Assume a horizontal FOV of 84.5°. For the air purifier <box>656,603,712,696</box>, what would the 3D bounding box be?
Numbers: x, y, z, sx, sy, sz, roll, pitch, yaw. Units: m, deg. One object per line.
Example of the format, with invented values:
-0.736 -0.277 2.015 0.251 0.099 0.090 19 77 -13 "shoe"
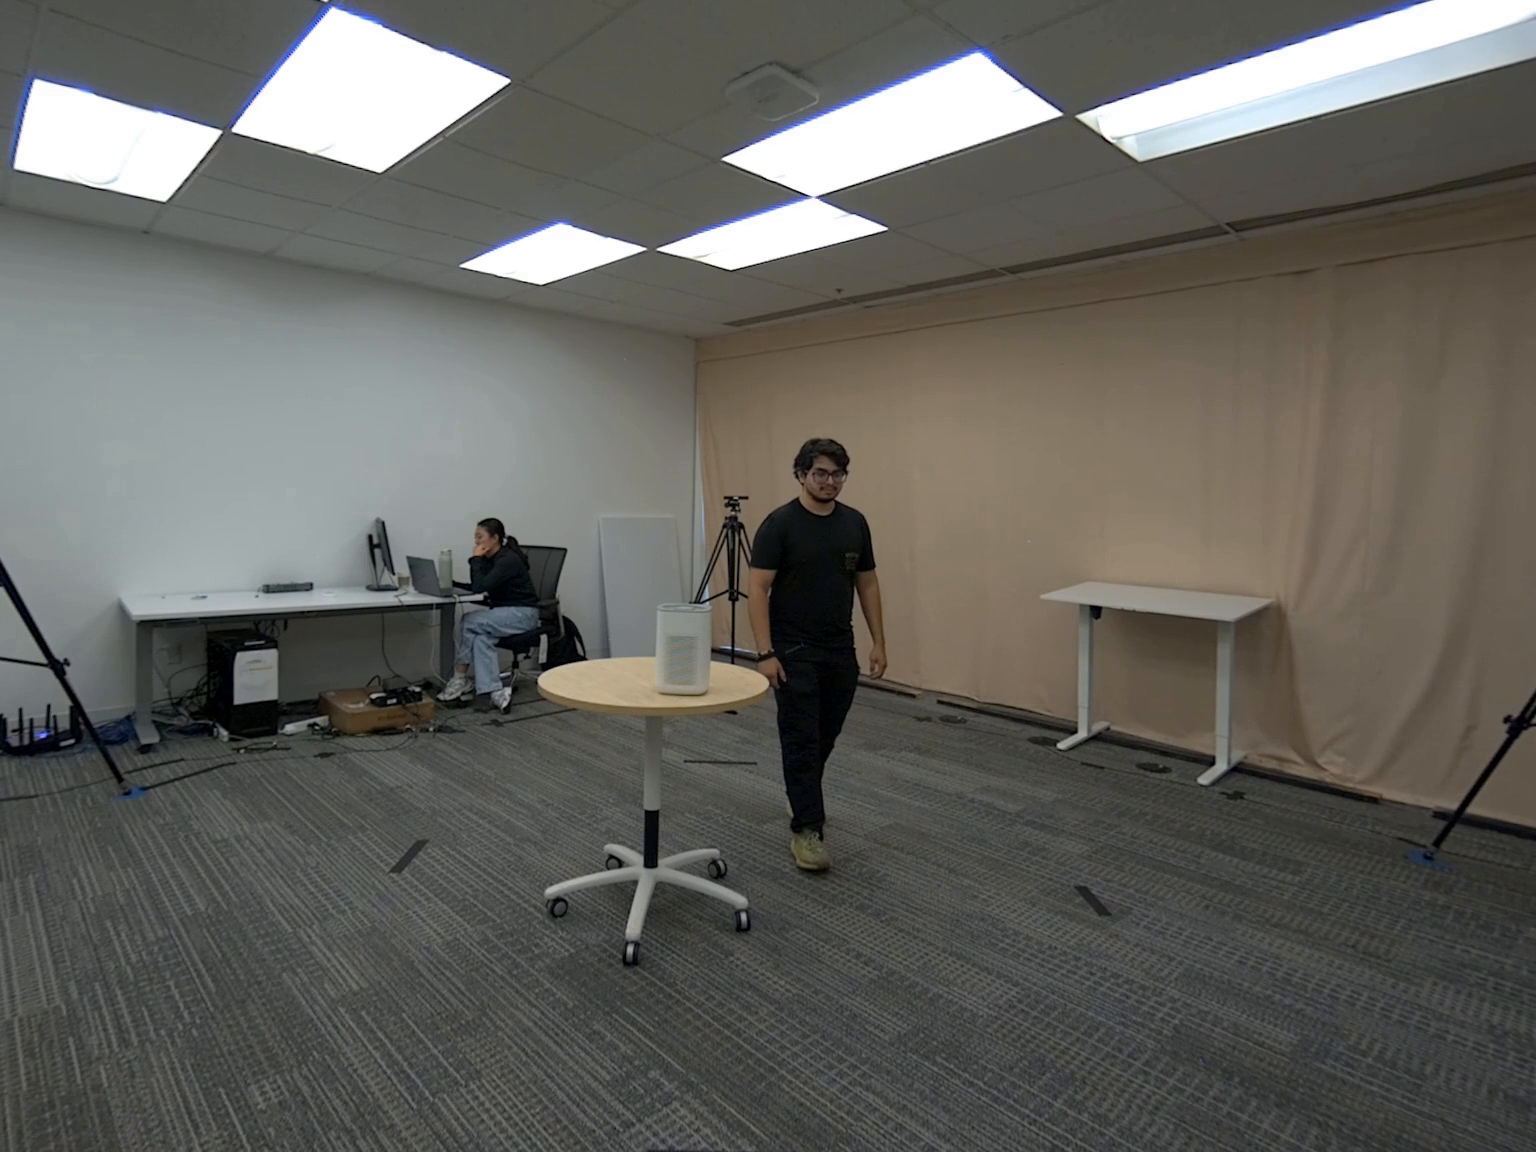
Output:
-0.277 0.229 2.644 0.172 0.265 0.171 2 1 0 "air purifier"
